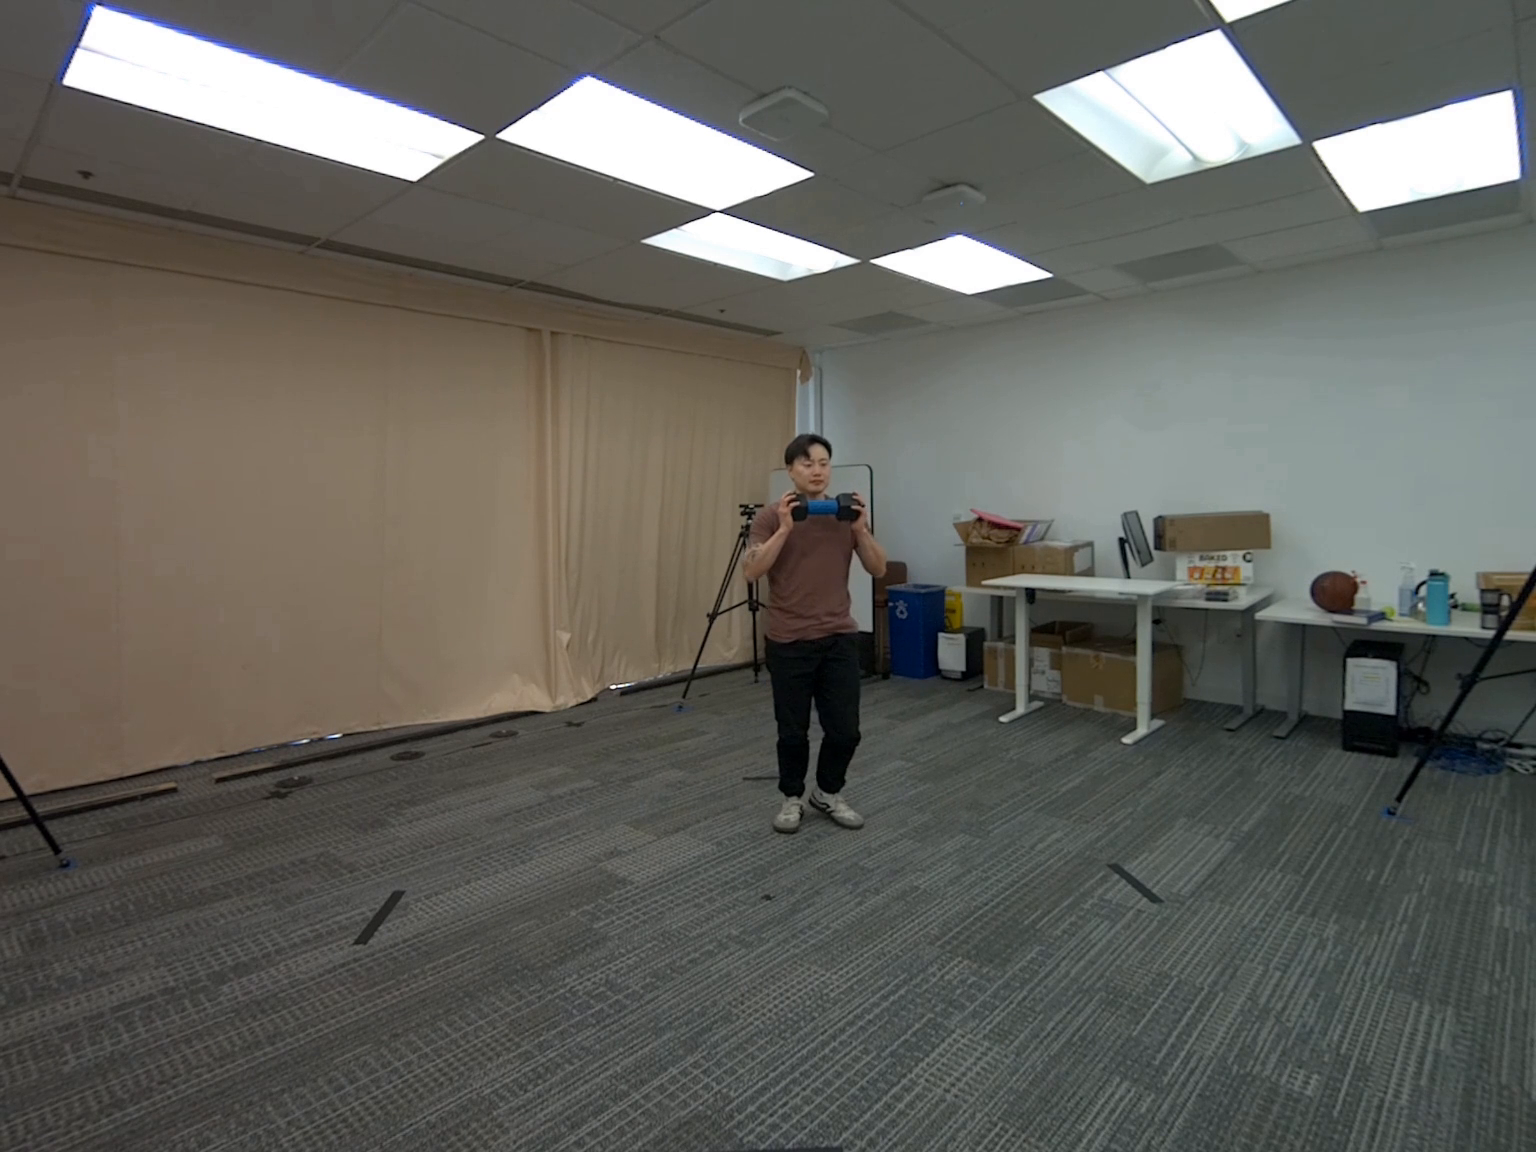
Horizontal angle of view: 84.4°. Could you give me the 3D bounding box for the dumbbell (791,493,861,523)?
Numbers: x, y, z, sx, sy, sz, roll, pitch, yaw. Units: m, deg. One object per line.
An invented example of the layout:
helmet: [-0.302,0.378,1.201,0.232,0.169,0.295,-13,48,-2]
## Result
dumbbell: [0.211,-0.273,3.396,0.291,0.109,0.123,-2,-9,-8]
